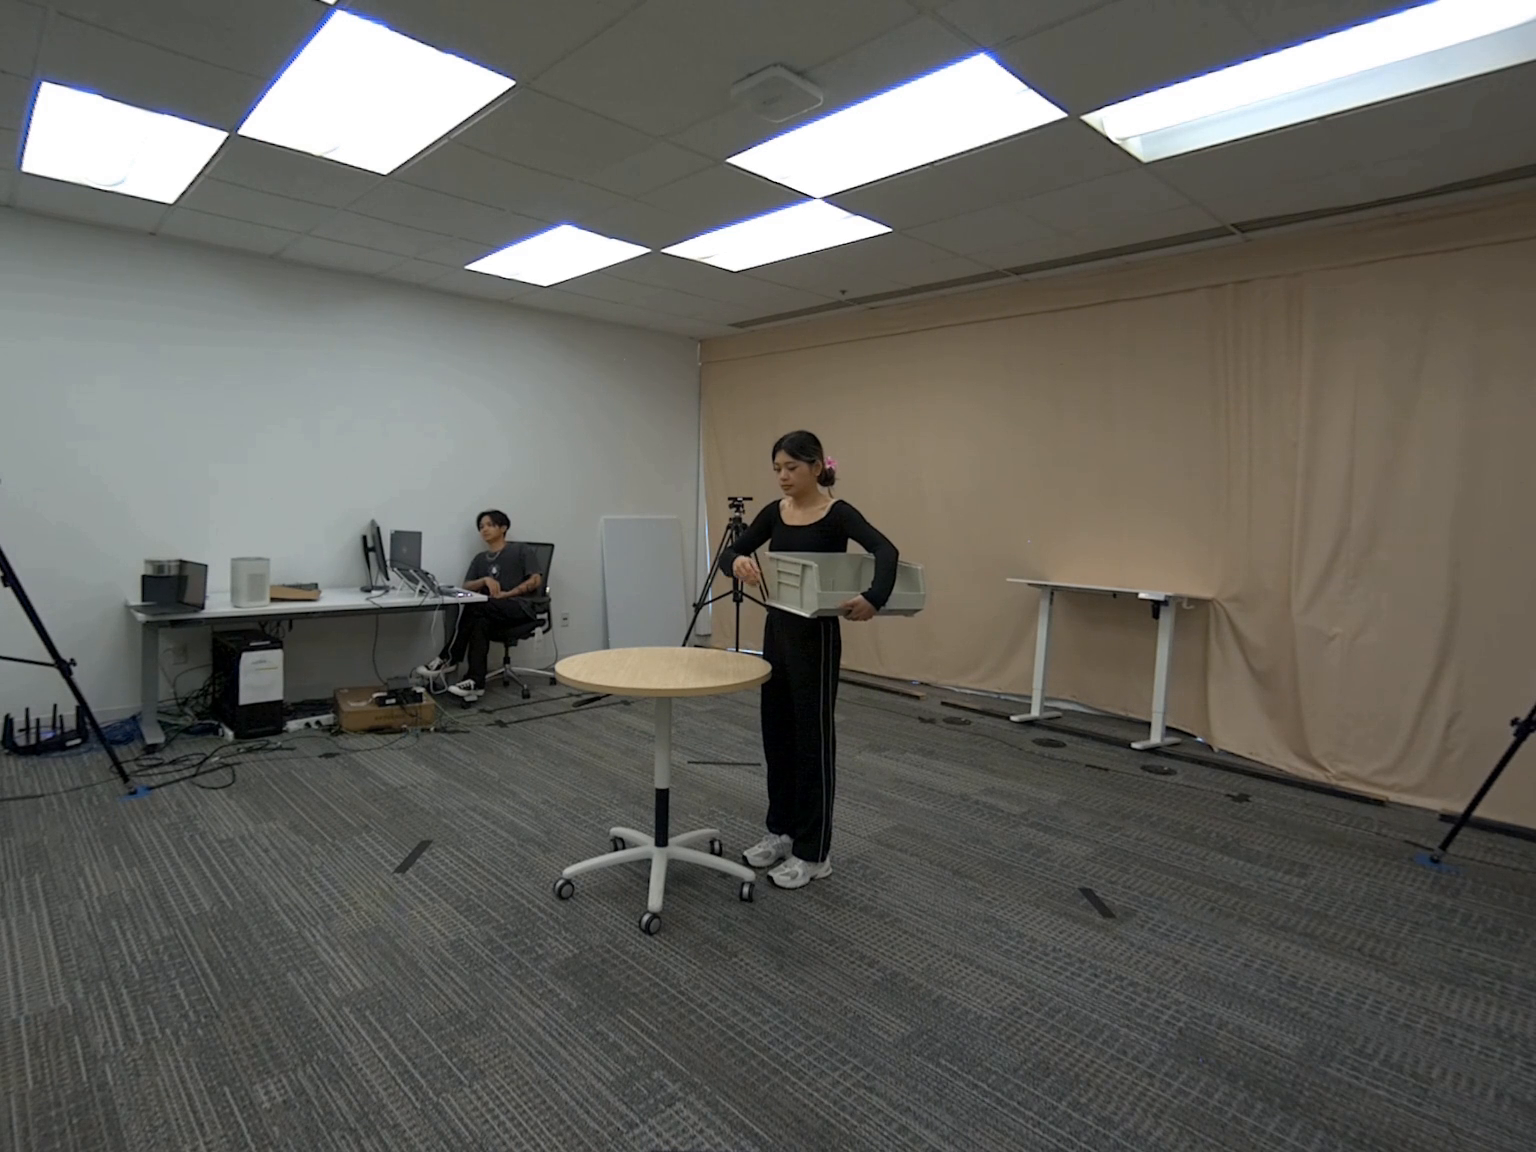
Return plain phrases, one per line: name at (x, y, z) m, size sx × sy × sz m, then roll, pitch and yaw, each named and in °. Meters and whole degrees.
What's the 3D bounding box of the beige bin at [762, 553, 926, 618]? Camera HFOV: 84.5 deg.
beige bin at (0.255, 0.035, 2.844) m, size 0.415 × 0.188 × 0.385 m, roll 0°, pitch 7°, yaw -22°
